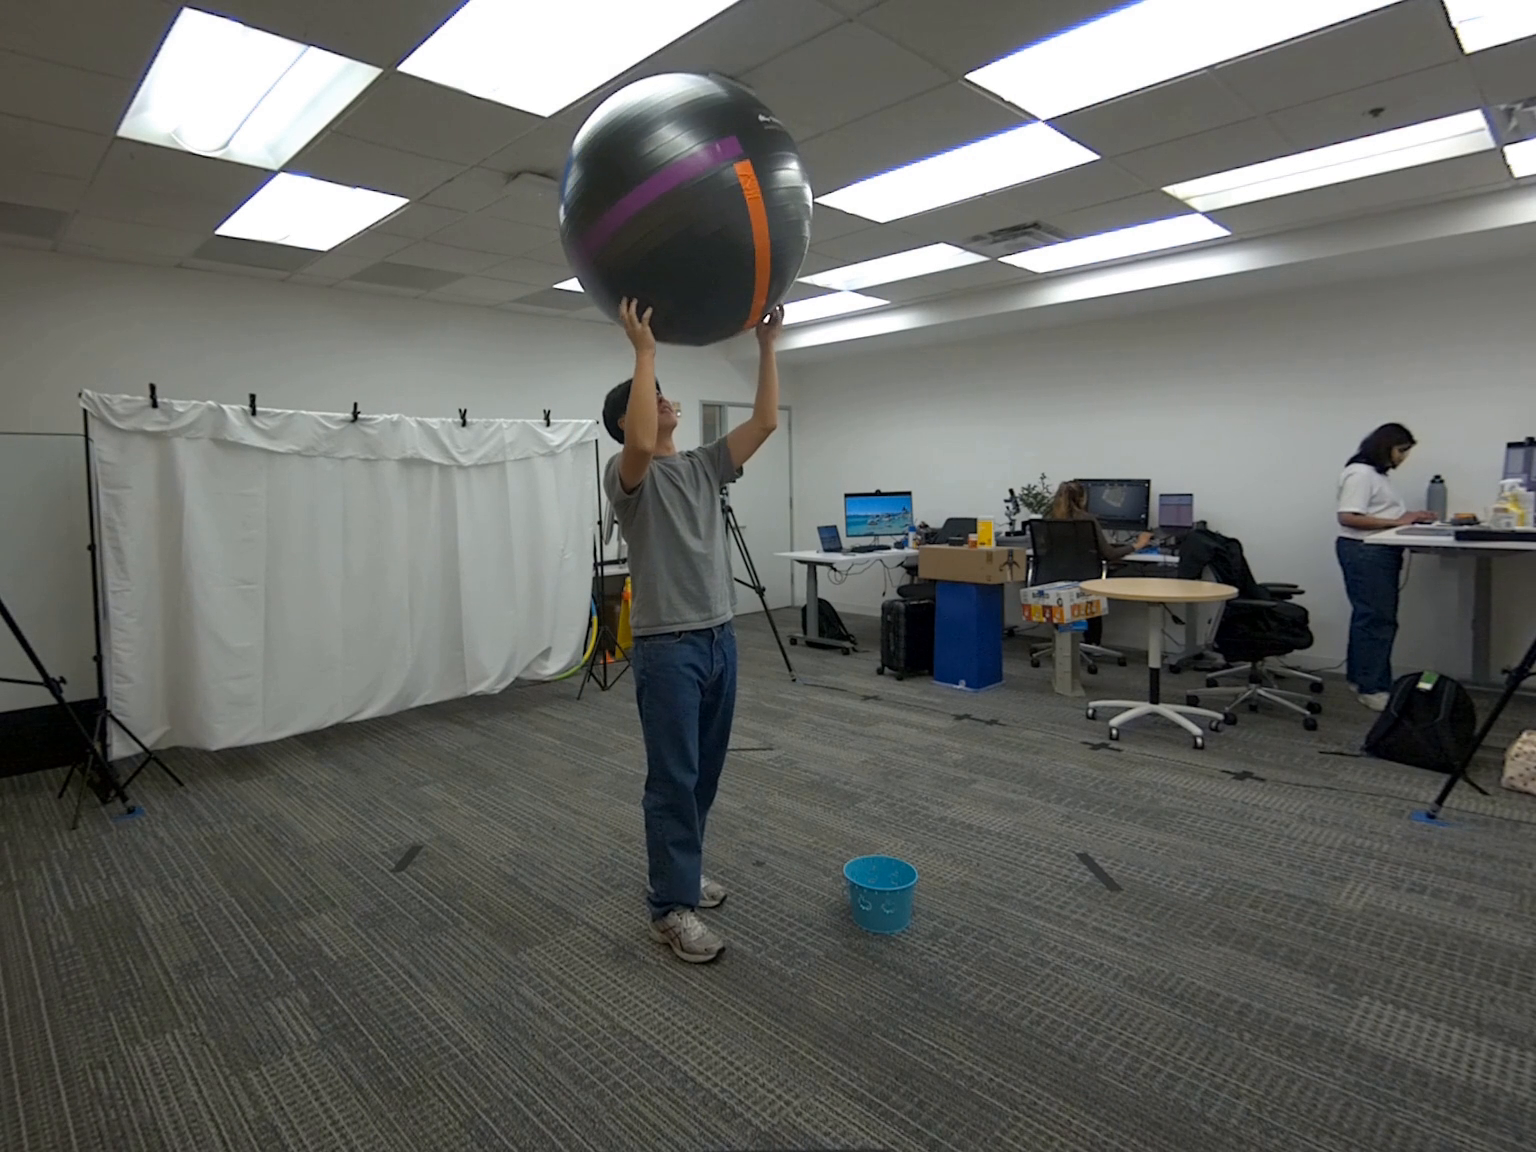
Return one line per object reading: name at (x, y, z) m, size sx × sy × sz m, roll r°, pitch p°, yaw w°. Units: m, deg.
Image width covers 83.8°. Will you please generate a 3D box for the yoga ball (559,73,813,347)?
yoga ball at (-0.251, -1.074, 2.547) m, size 0.757 × 0.755 × 0.762 m, roll -1°, pitch 5°, yaw -2°
